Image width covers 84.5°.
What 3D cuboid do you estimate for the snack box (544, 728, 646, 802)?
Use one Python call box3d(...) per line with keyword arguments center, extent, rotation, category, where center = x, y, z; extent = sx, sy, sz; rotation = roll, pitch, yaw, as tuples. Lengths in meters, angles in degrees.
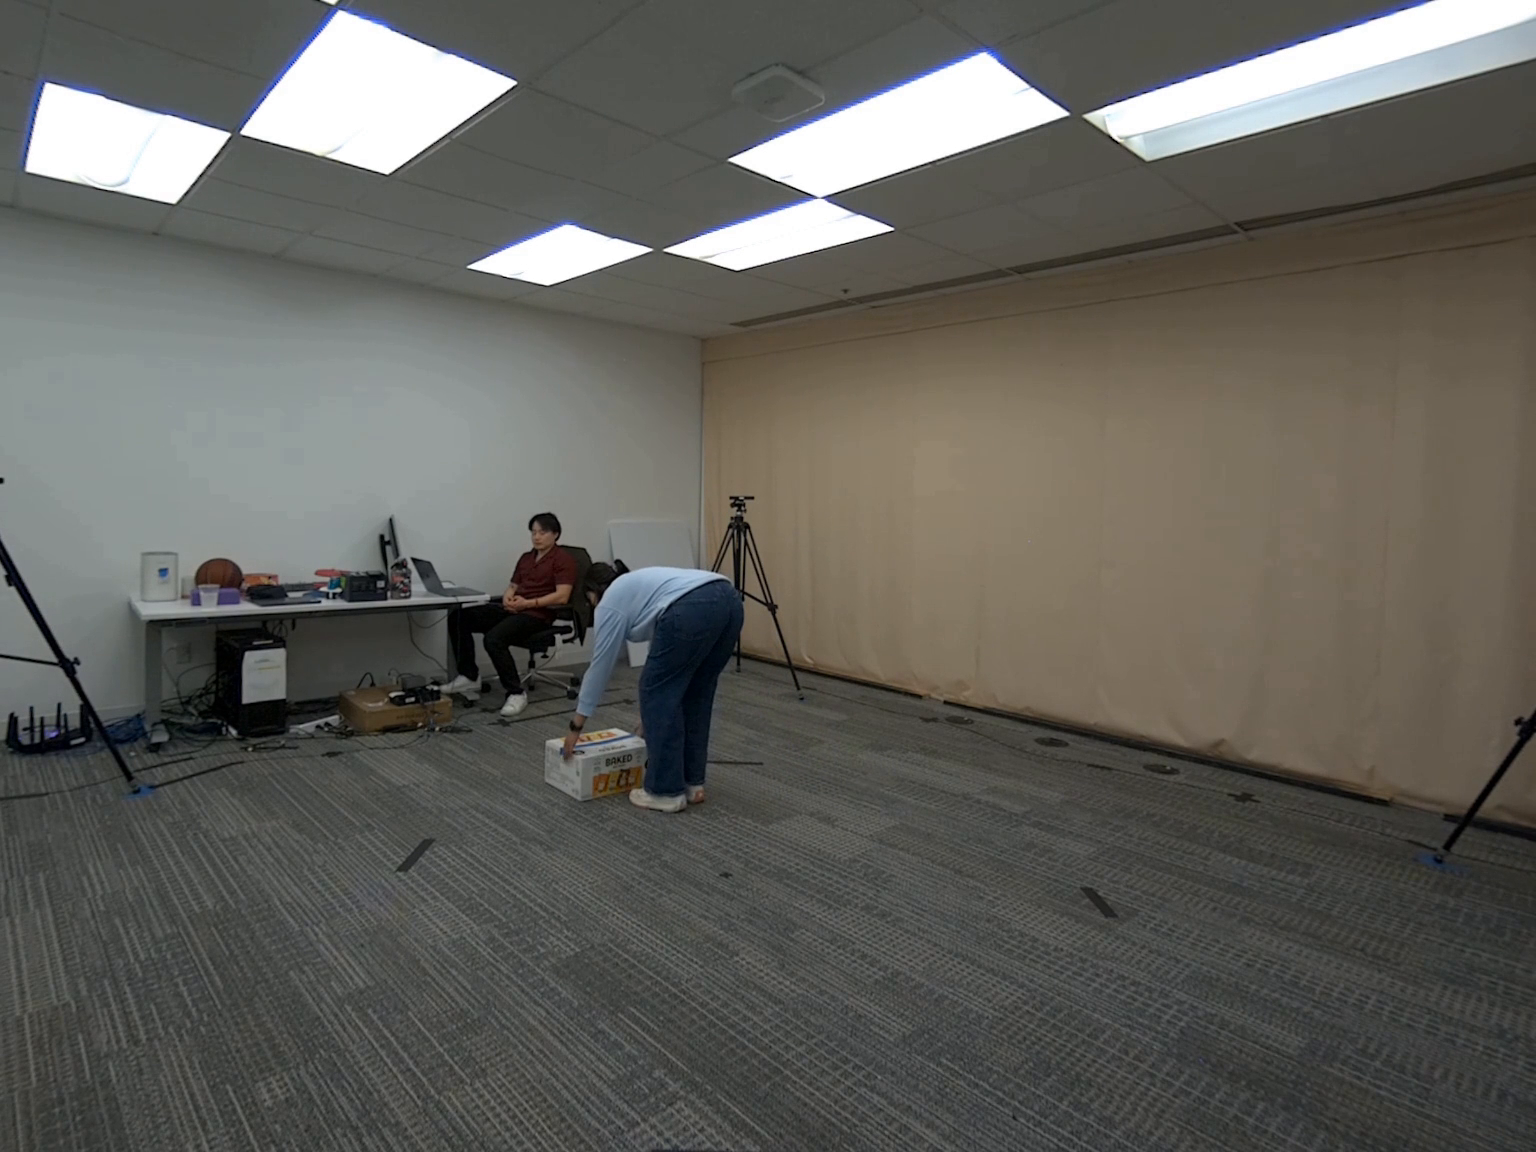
box3d(center=(-0.816, 0.898, 4.061), extent=(0.396, 0.205, 0.349), rotation=(-2, 5, -42), category="snack box")
